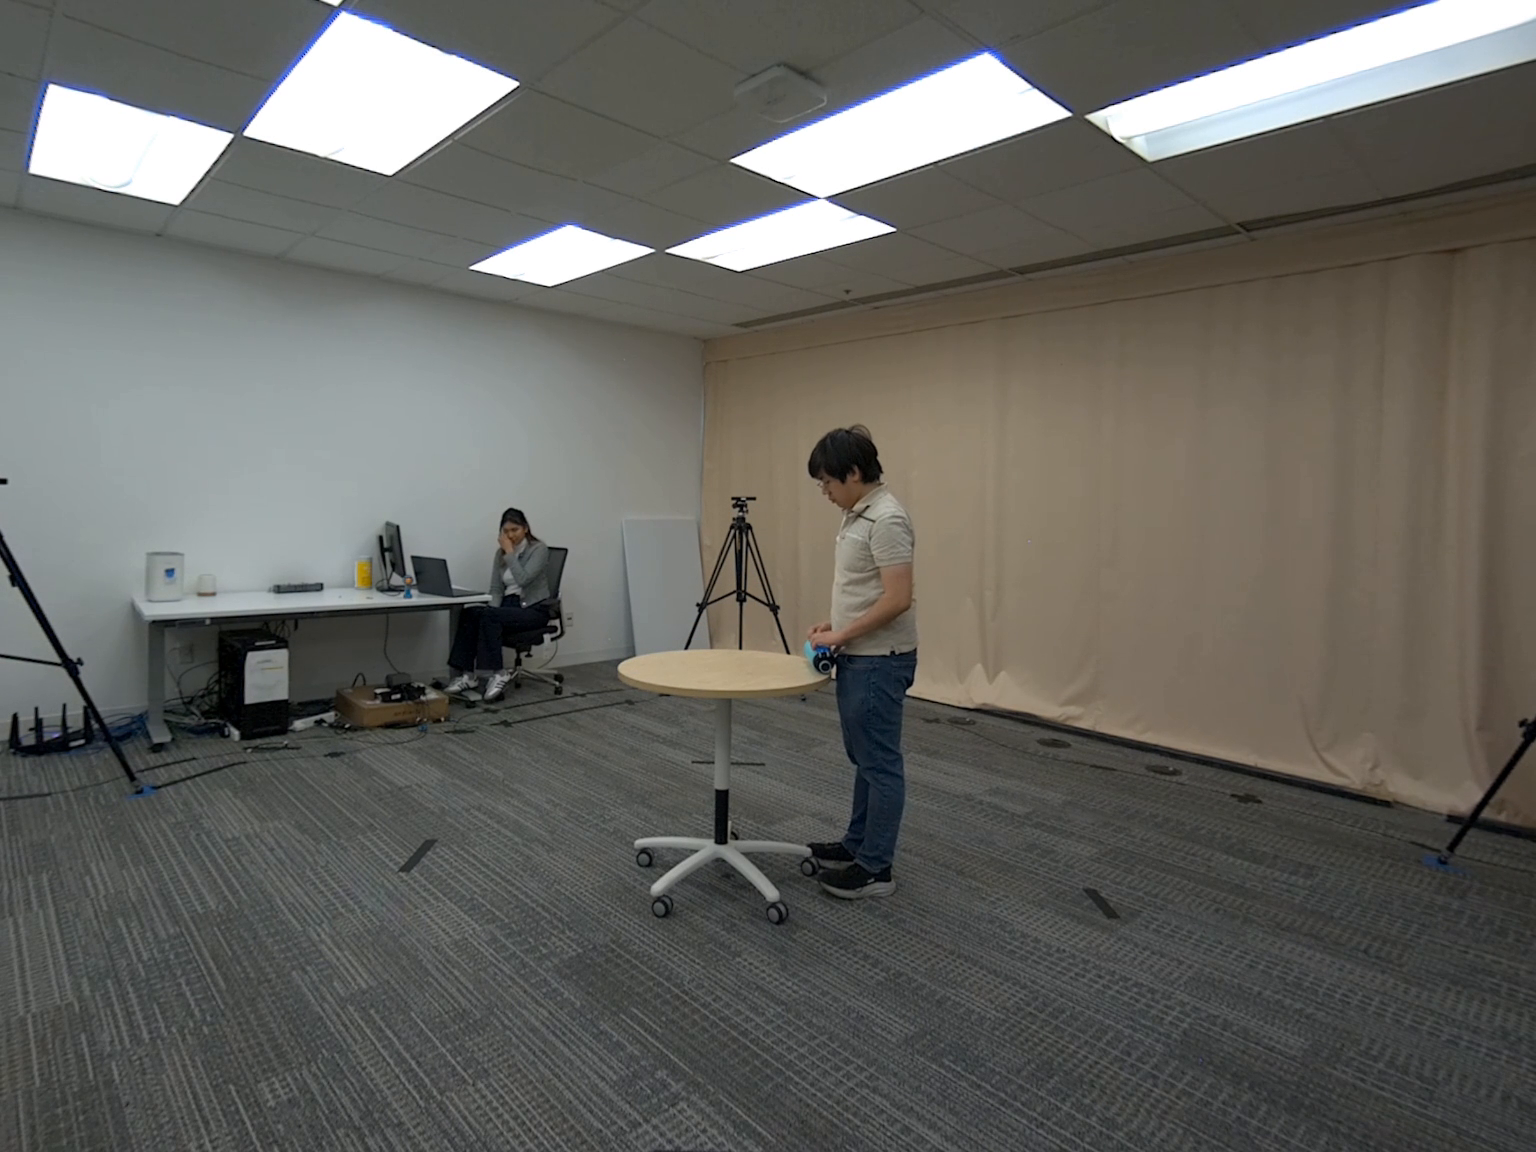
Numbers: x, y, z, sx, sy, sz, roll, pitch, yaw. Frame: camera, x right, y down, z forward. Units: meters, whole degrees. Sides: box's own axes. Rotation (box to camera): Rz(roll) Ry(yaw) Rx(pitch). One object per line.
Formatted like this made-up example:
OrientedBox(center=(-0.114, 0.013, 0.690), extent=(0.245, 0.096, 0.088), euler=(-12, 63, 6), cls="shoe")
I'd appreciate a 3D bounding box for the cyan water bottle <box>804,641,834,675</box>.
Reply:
OrientedBox(center=(0.189, 0.288, 3.065), extent=(0.092, 0.092, 0.285), euler=(1, 8, -1), cls="cyan water bottle")
